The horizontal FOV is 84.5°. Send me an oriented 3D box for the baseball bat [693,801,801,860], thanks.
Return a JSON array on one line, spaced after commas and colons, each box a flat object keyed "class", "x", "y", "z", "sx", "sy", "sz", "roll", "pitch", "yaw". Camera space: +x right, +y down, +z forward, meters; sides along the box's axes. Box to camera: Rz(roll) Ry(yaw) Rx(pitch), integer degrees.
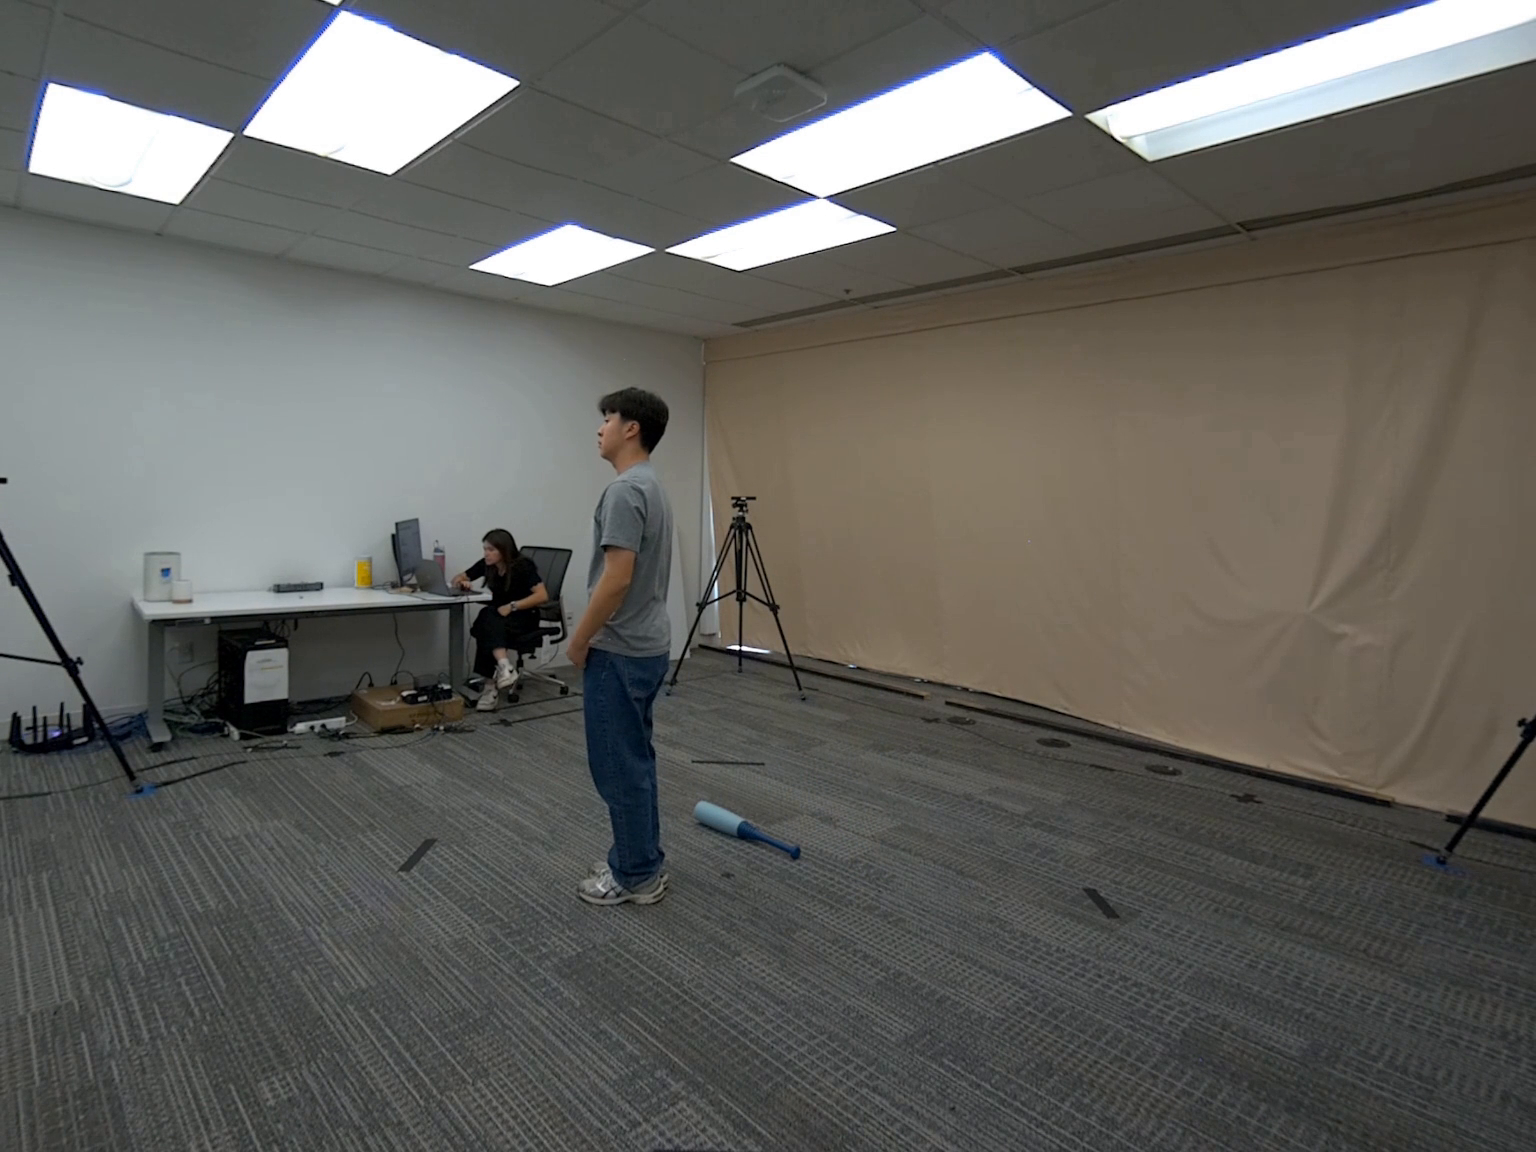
[{"class": "baseball bat", "x": -0.098, "y": 1.041, "z": 3.438, "sx": 0.557, "sy": 0.089, "sz": 0.087, "roll": 9, "pitch": 8, "yaw": 41}]
